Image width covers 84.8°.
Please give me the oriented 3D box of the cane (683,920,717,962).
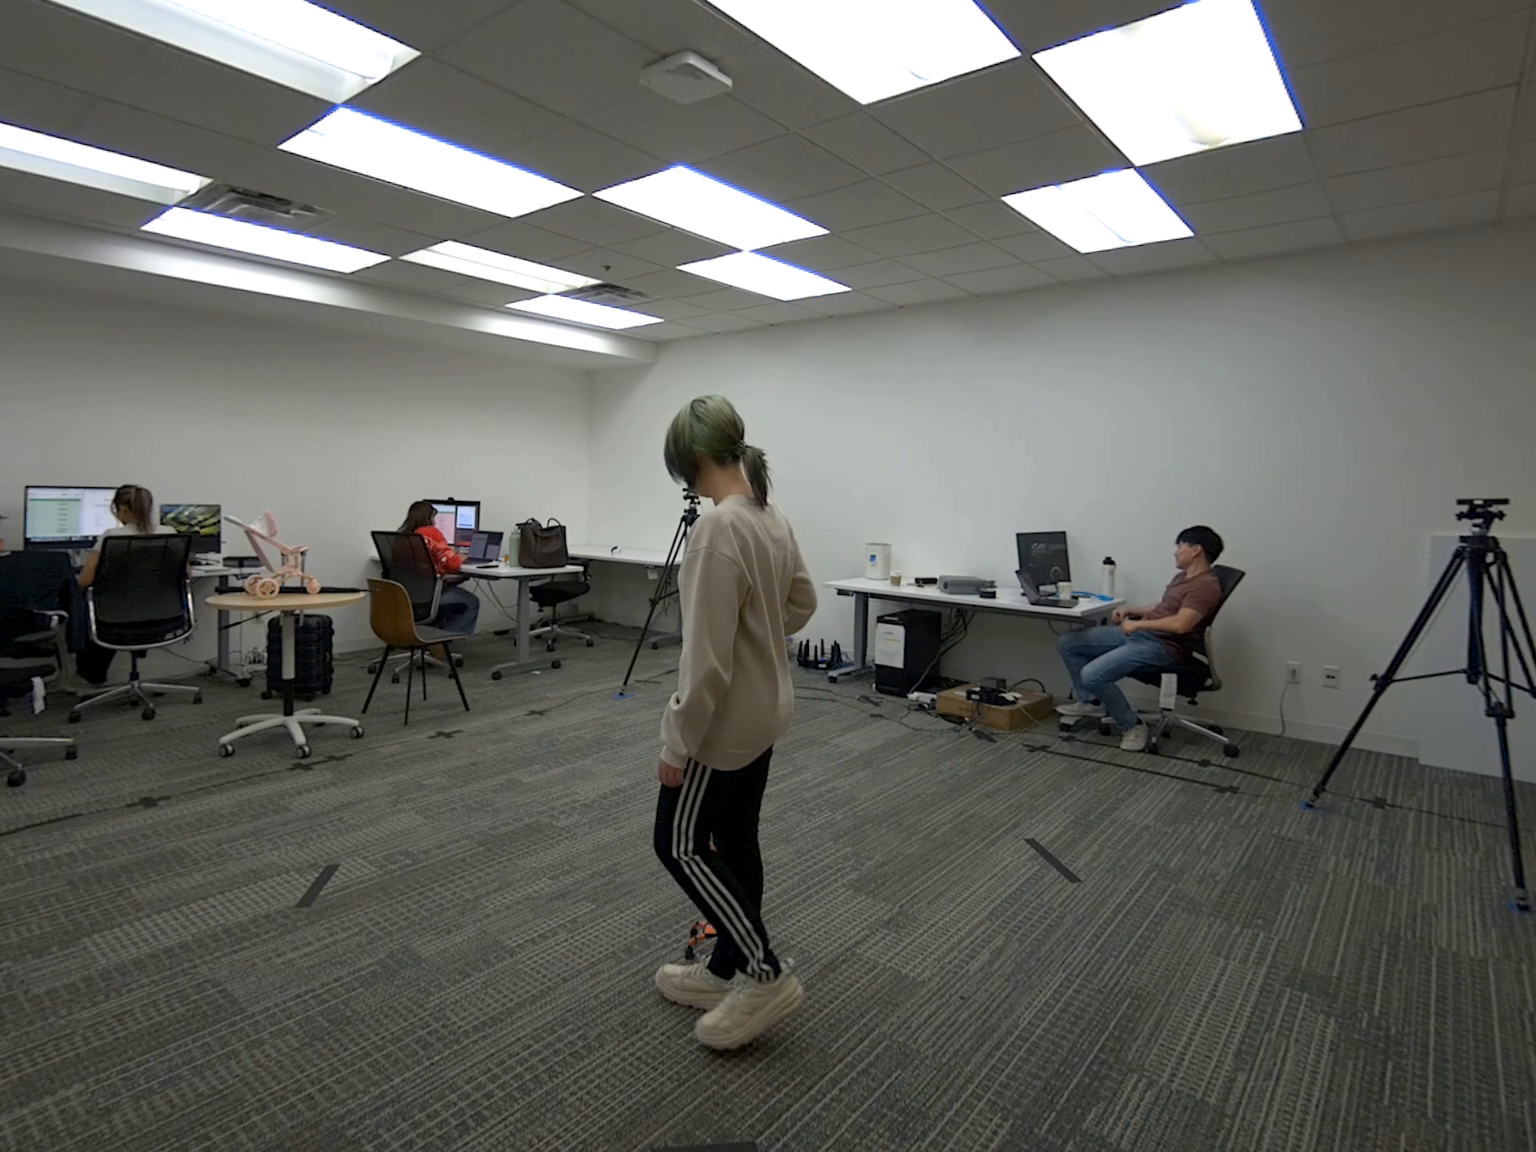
[{"bbox_3d":[-0.174,0.648,2.545,0.207,0.909,0.151,-4,-1,2],"label":"cane"}]
